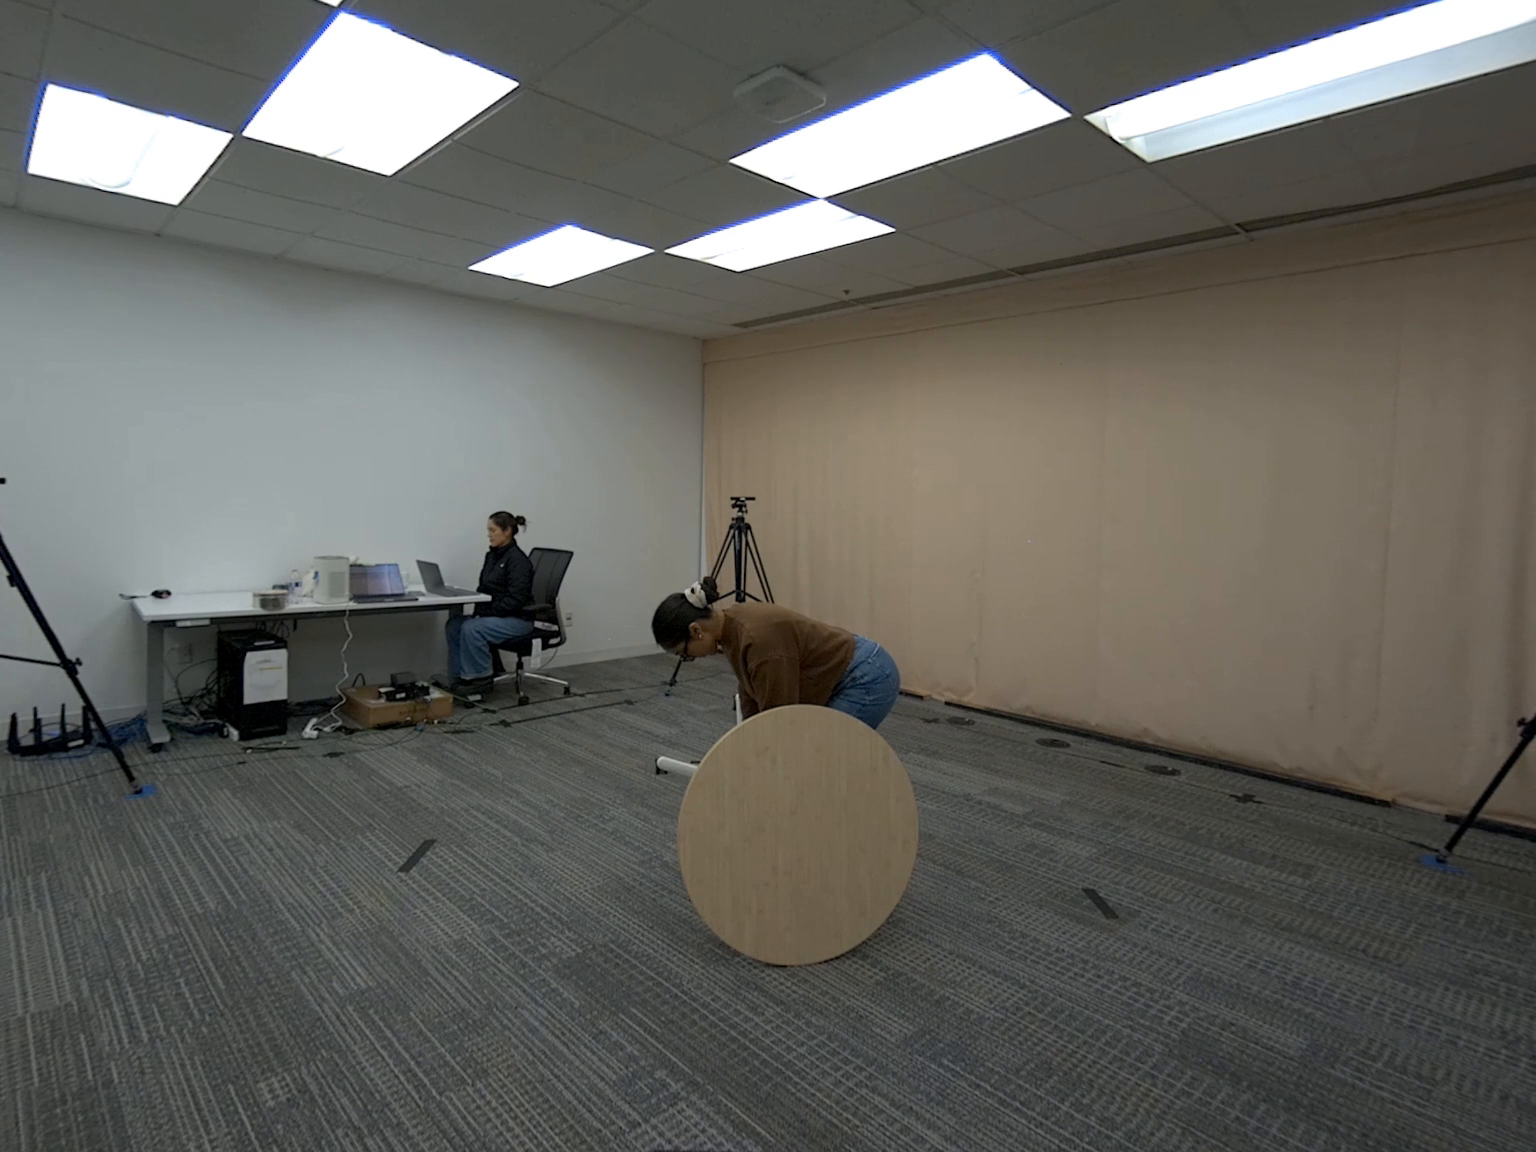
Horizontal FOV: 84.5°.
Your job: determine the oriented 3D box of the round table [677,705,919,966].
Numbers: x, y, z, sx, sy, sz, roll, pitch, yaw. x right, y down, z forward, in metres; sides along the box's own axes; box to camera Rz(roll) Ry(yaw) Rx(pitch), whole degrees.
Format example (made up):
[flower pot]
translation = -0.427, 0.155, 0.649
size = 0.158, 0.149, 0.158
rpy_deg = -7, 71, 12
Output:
[round table]
translation = -0.005, 0.800, 2.939
size = 0.756, 0.766, 0.800
rpy_deg = 0, -3, -14
